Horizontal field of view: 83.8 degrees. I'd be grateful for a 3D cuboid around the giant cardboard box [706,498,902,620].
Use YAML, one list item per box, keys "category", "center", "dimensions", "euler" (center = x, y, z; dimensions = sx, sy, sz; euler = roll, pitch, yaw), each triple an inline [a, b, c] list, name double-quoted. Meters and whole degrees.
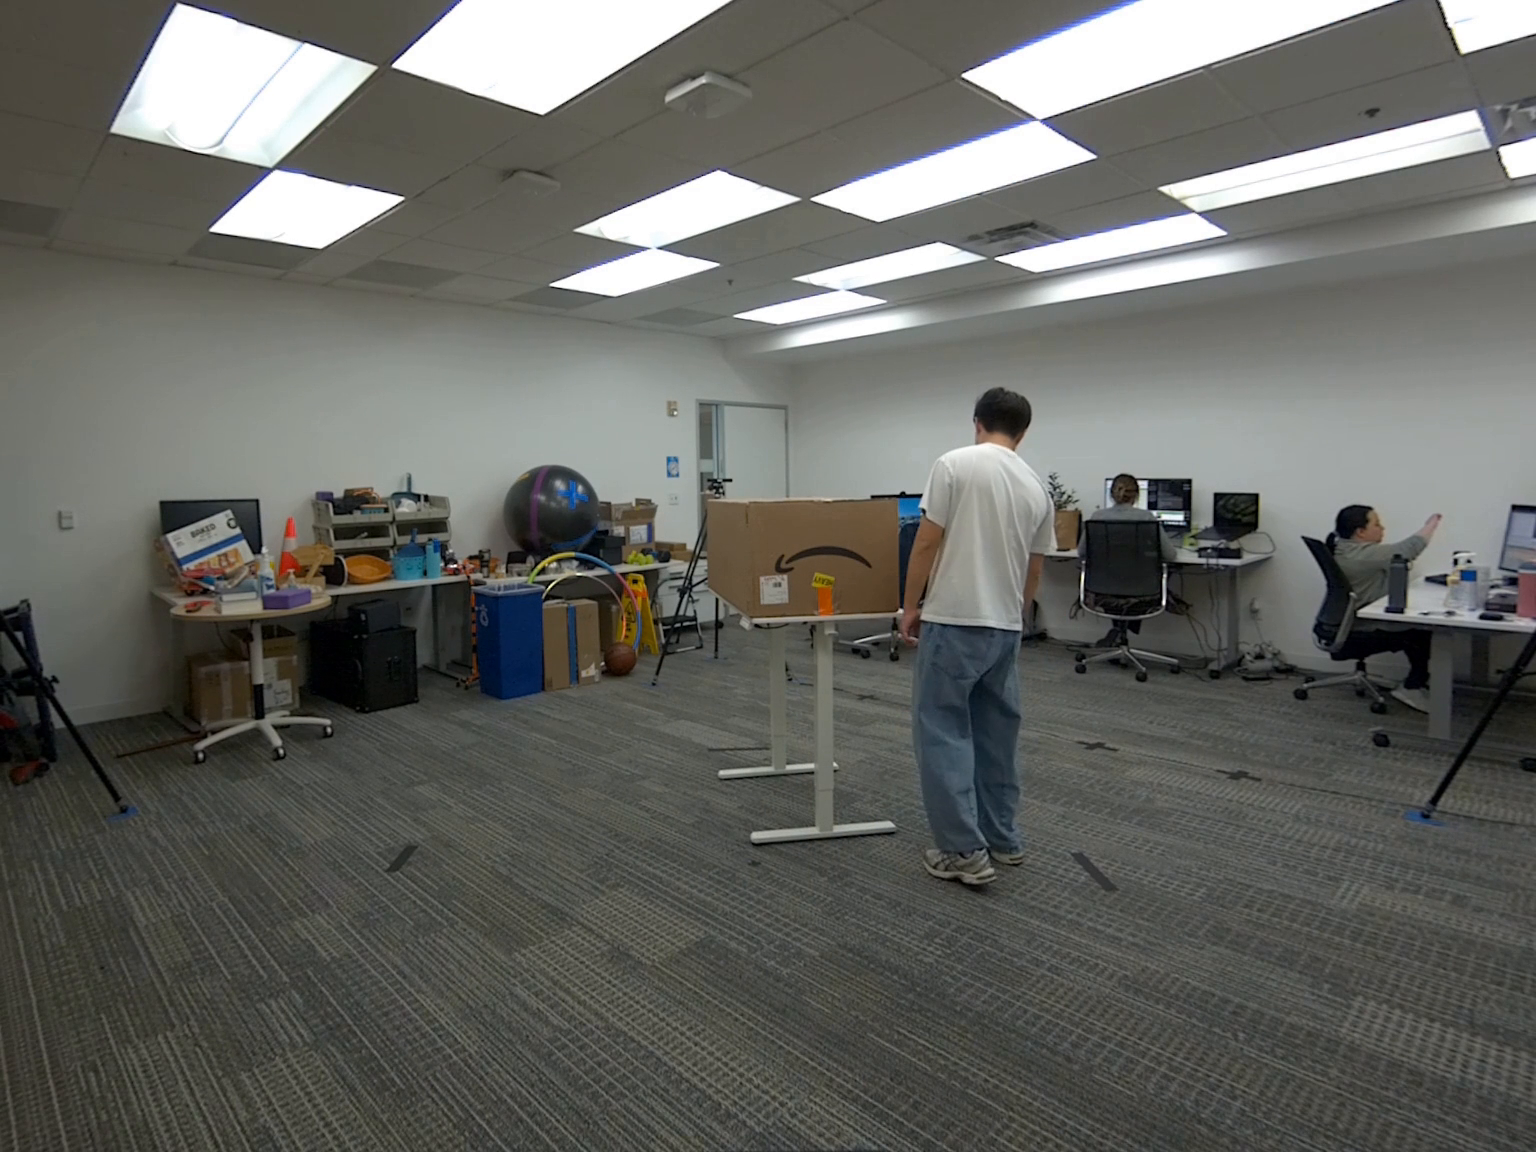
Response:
- category: "giant cardboard box"
  center: [0.093, -0.111, 3.648]
  dimensions: [0.572, 0.424, 1.040]
  euler: [-3, 5, -11]
